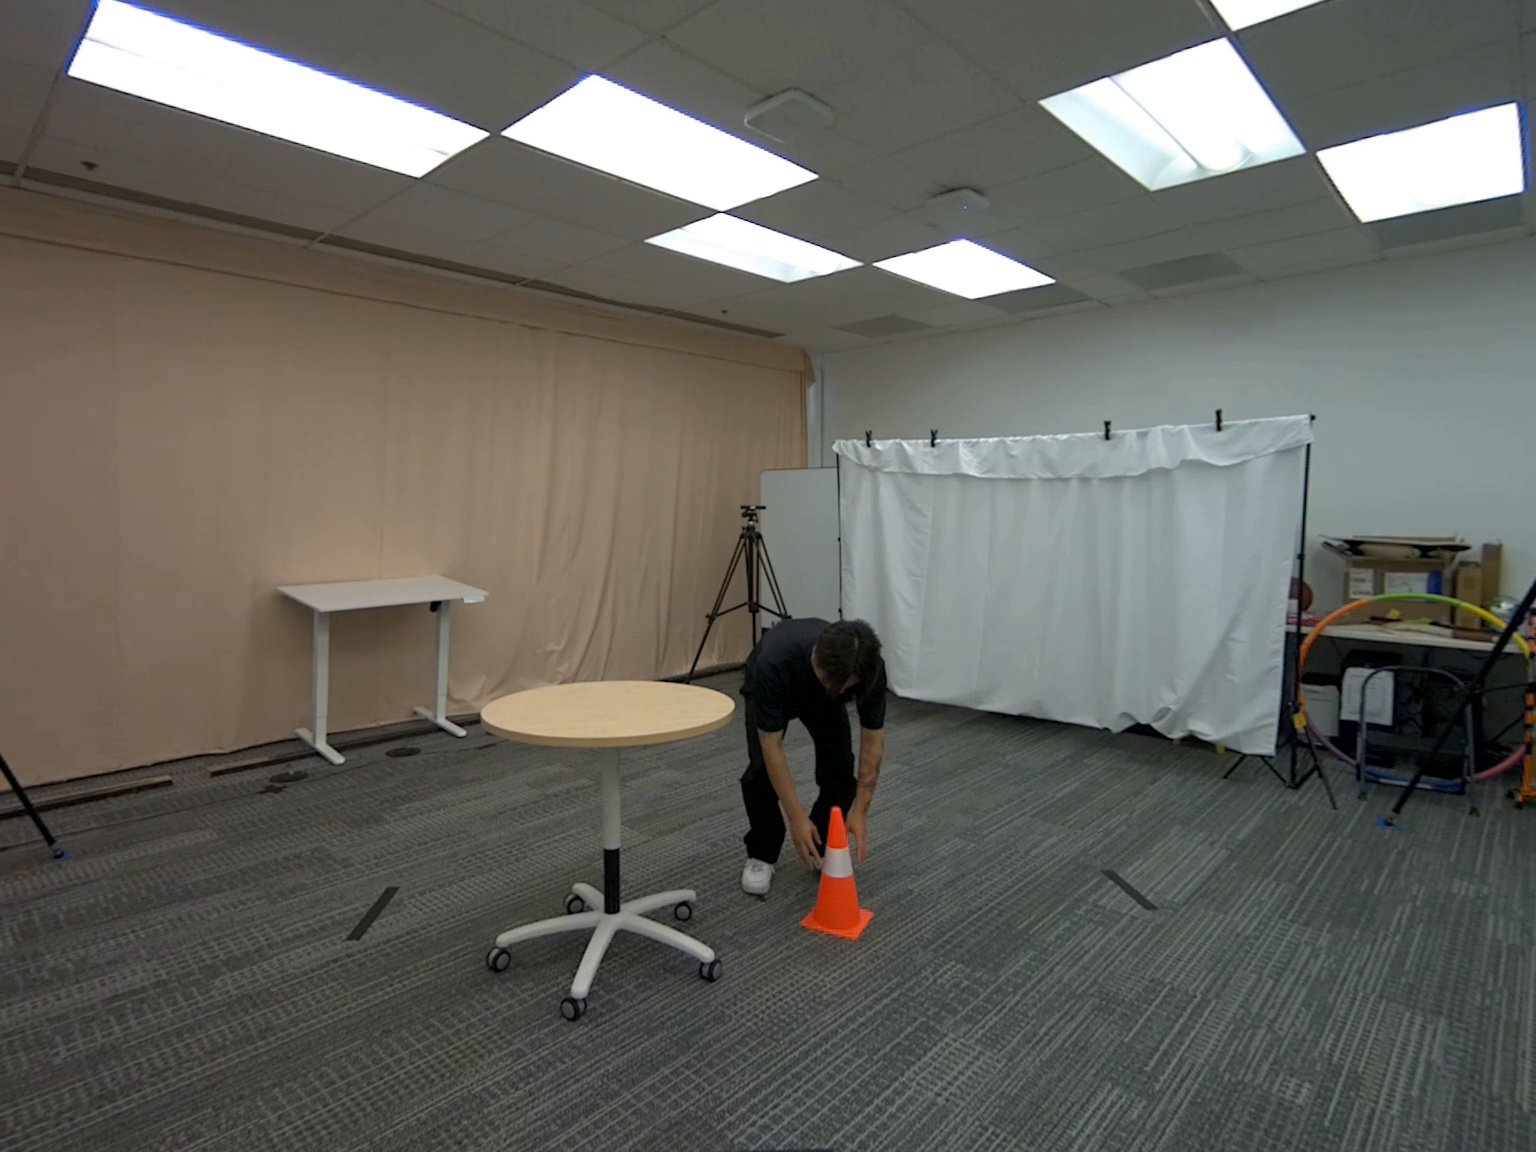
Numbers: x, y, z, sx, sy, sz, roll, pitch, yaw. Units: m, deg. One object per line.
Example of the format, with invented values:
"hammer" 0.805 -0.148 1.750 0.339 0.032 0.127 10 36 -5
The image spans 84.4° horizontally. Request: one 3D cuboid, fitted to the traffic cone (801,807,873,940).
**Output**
"traffic cone" 0.228 0.968 2.824 0.209 0.383 0.200 1 4 27
